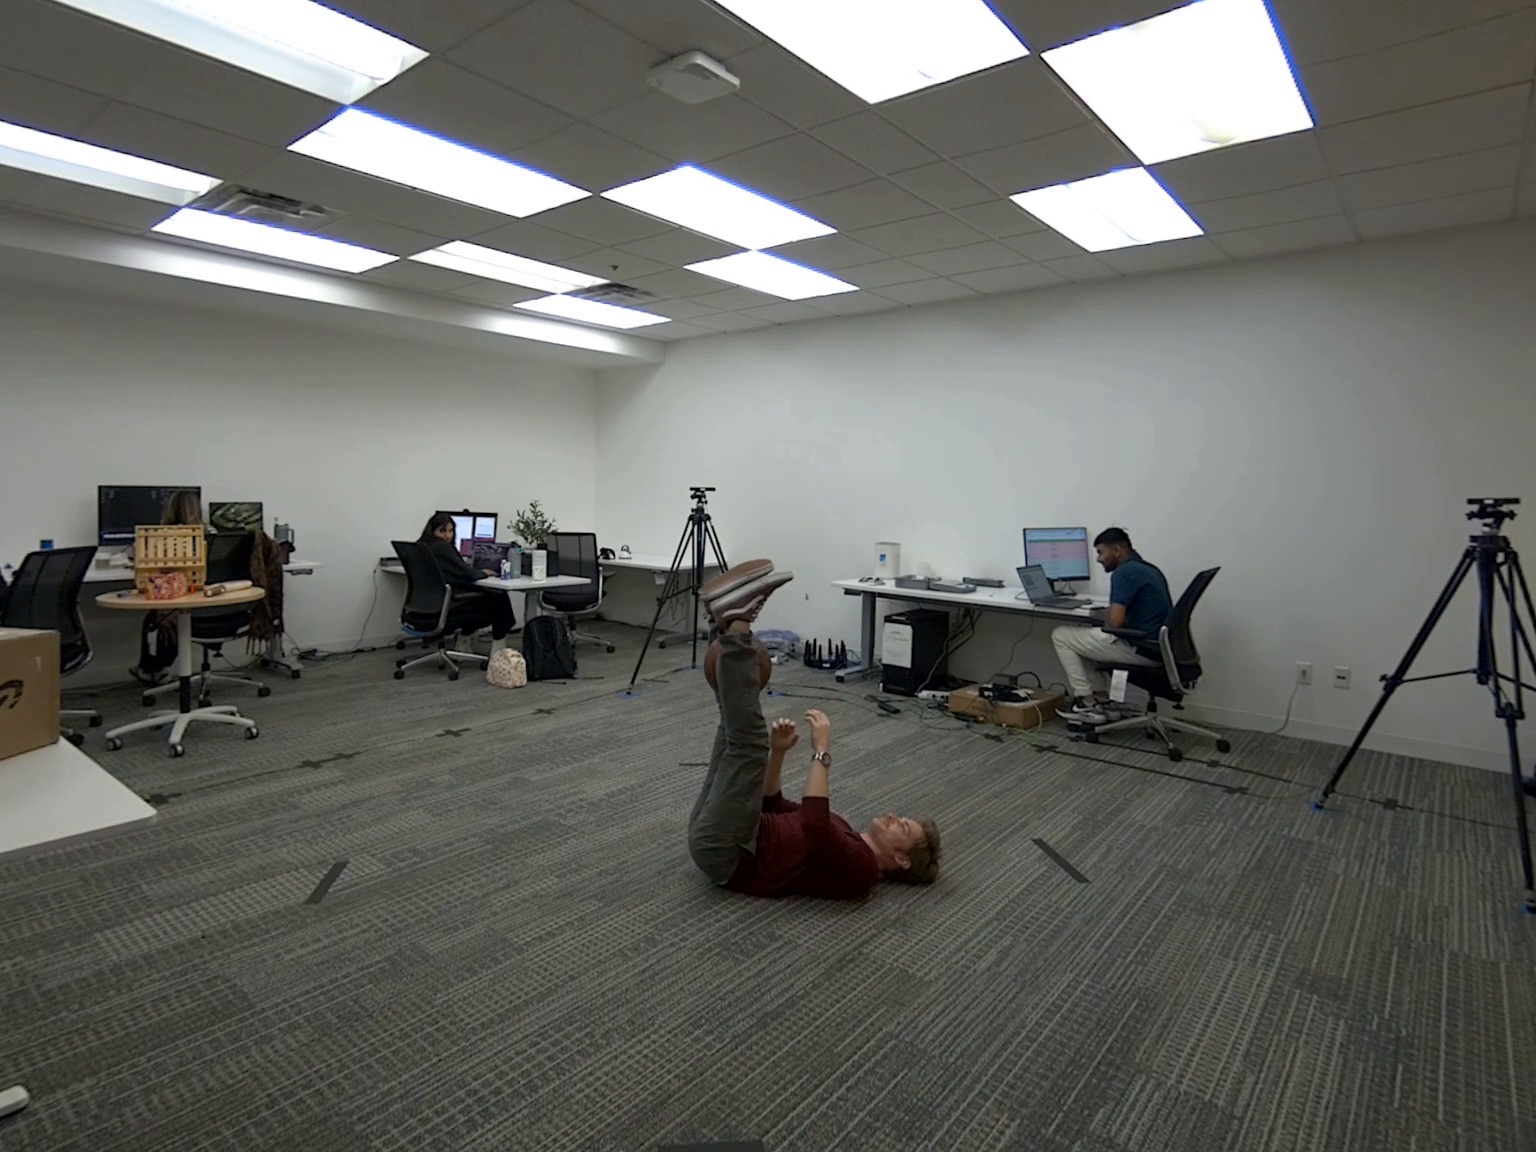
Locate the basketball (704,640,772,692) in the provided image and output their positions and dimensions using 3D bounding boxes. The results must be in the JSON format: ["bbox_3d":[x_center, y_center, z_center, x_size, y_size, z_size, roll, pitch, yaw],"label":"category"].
[{"bbox_3d":[-0.119,0.311,2.978,0.235,0.235,0.237,1,4,-2],"label":"basketball"}]
